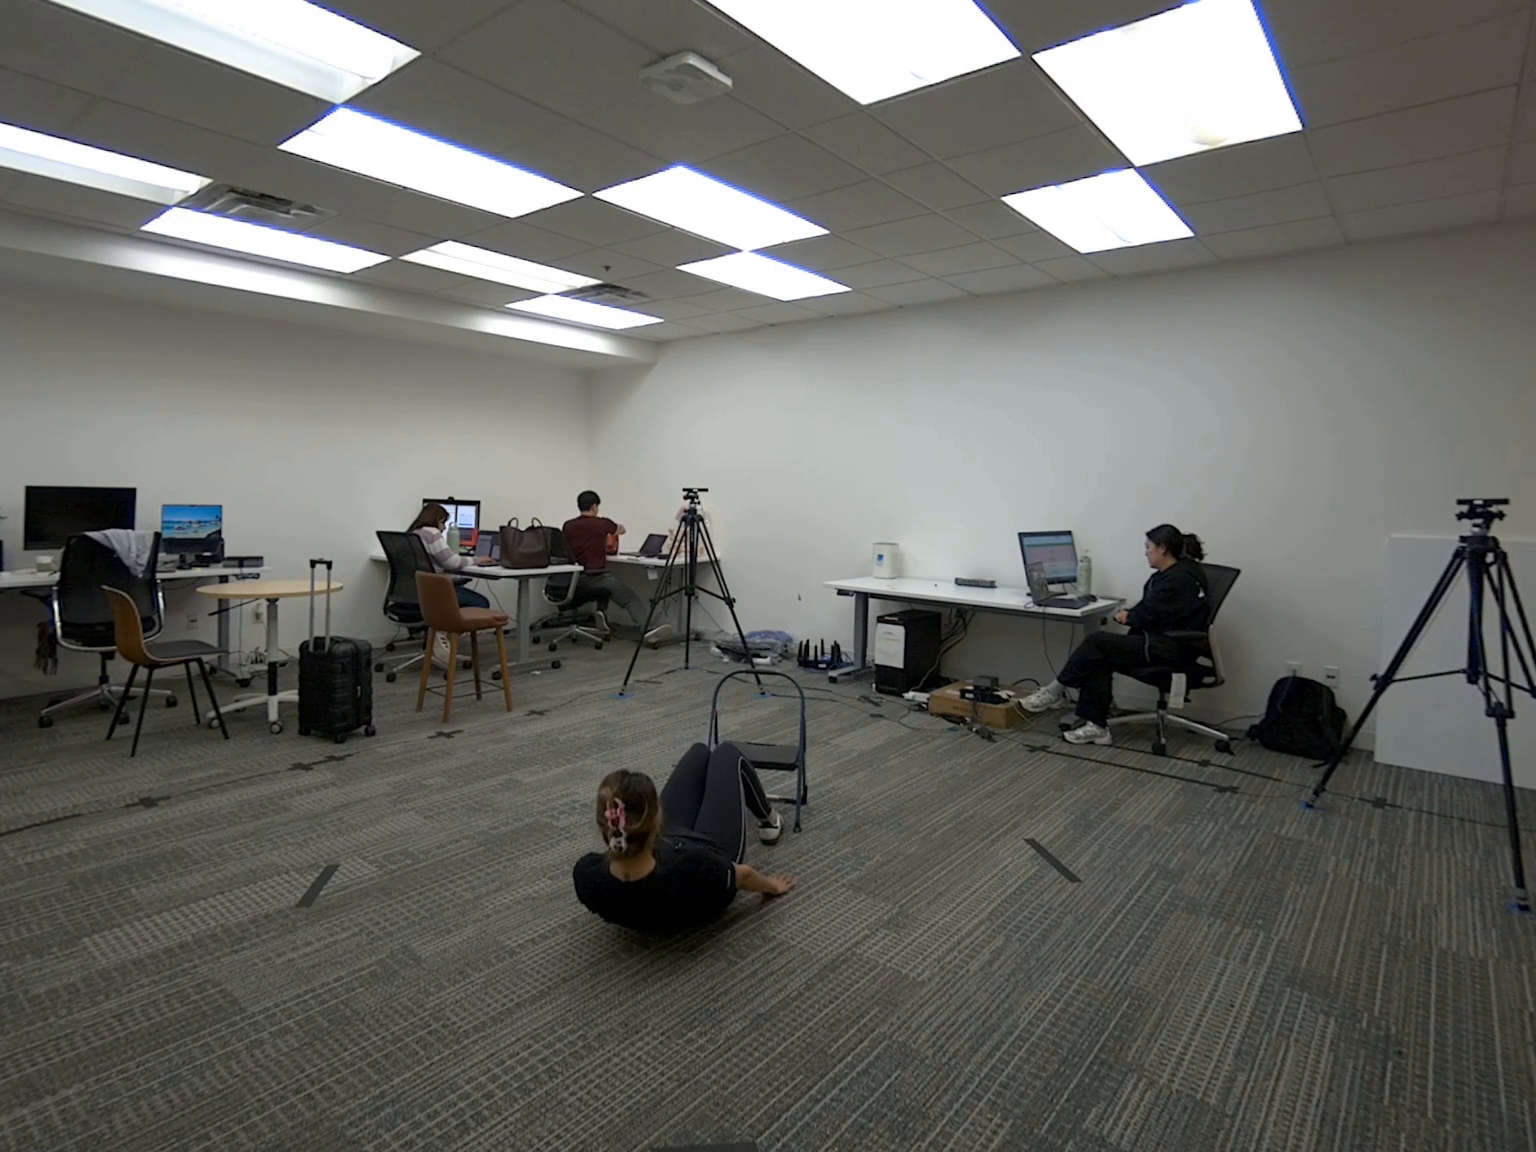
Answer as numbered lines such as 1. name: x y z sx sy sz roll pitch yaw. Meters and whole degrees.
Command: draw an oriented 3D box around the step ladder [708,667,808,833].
1. step ladder: -0.052 0.713 3.660 0.436 0.604 0.346 2 3 10
